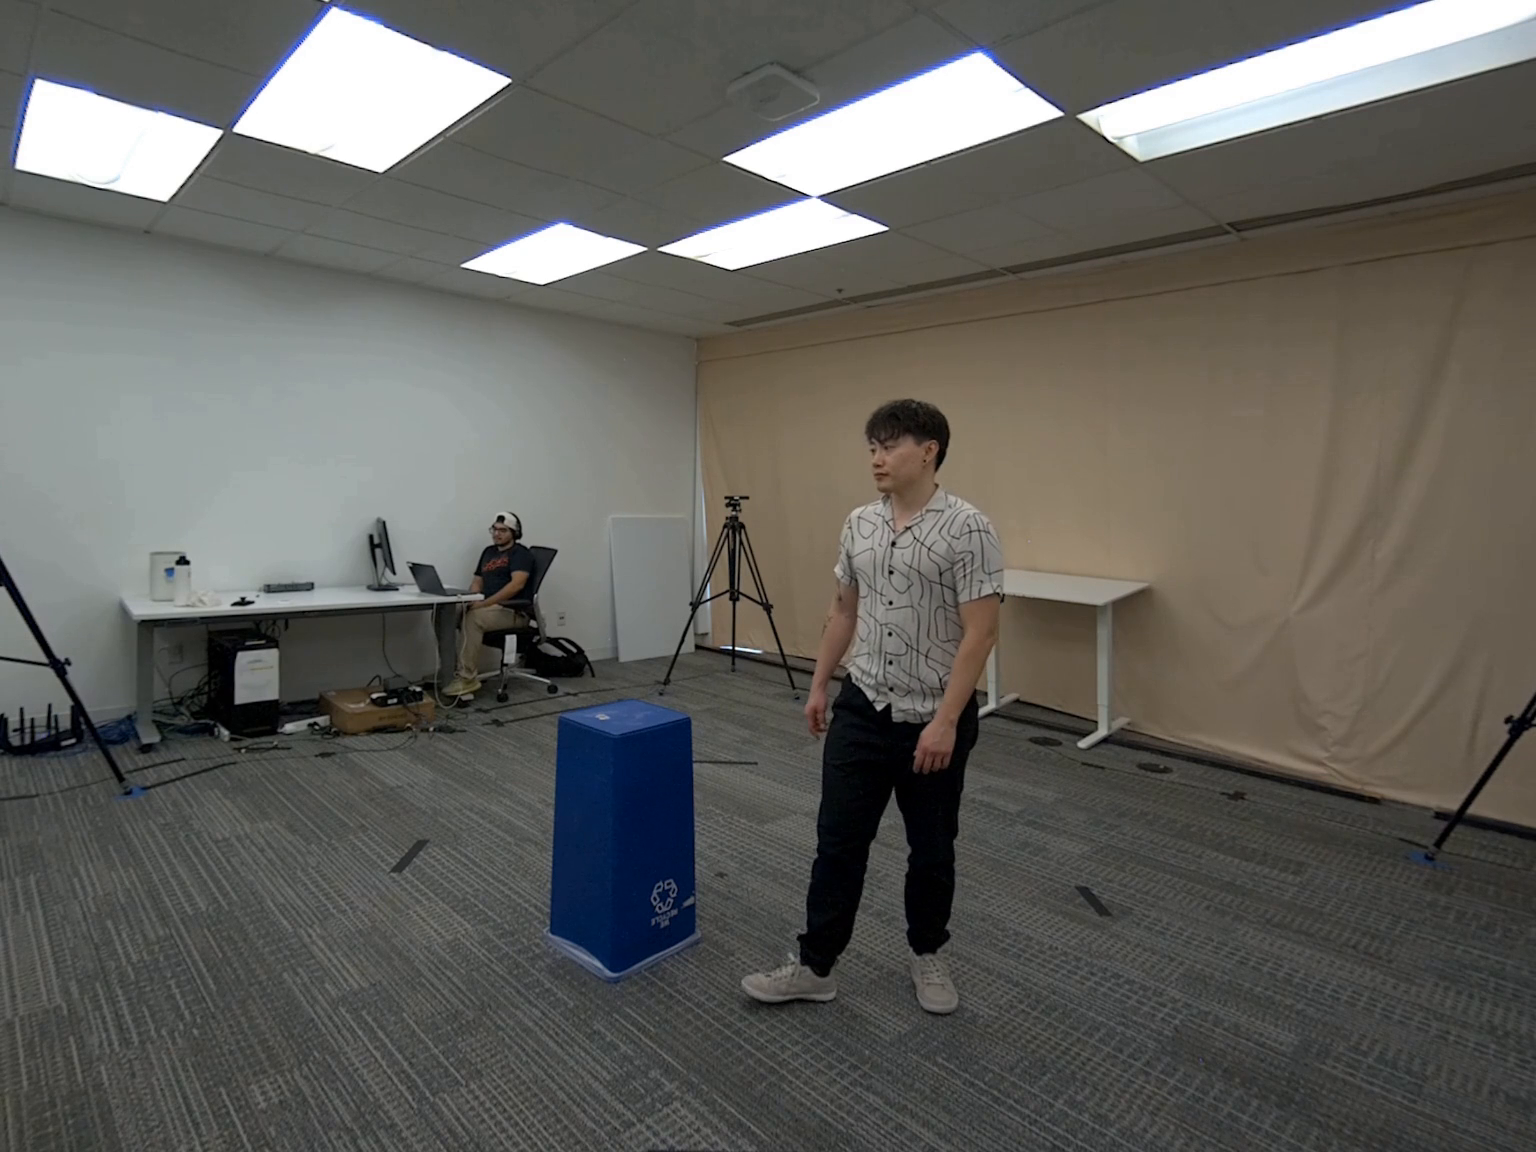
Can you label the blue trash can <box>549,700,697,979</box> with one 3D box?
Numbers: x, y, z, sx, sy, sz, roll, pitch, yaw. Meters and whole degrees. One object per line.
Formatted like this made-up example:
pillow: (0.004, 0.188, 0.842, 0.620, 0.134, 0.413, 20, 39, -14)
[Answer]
blue trash can: (-0.463, 0.791, 2.622, 0.387, 0.712, 0.365, 4, 5, 44)
